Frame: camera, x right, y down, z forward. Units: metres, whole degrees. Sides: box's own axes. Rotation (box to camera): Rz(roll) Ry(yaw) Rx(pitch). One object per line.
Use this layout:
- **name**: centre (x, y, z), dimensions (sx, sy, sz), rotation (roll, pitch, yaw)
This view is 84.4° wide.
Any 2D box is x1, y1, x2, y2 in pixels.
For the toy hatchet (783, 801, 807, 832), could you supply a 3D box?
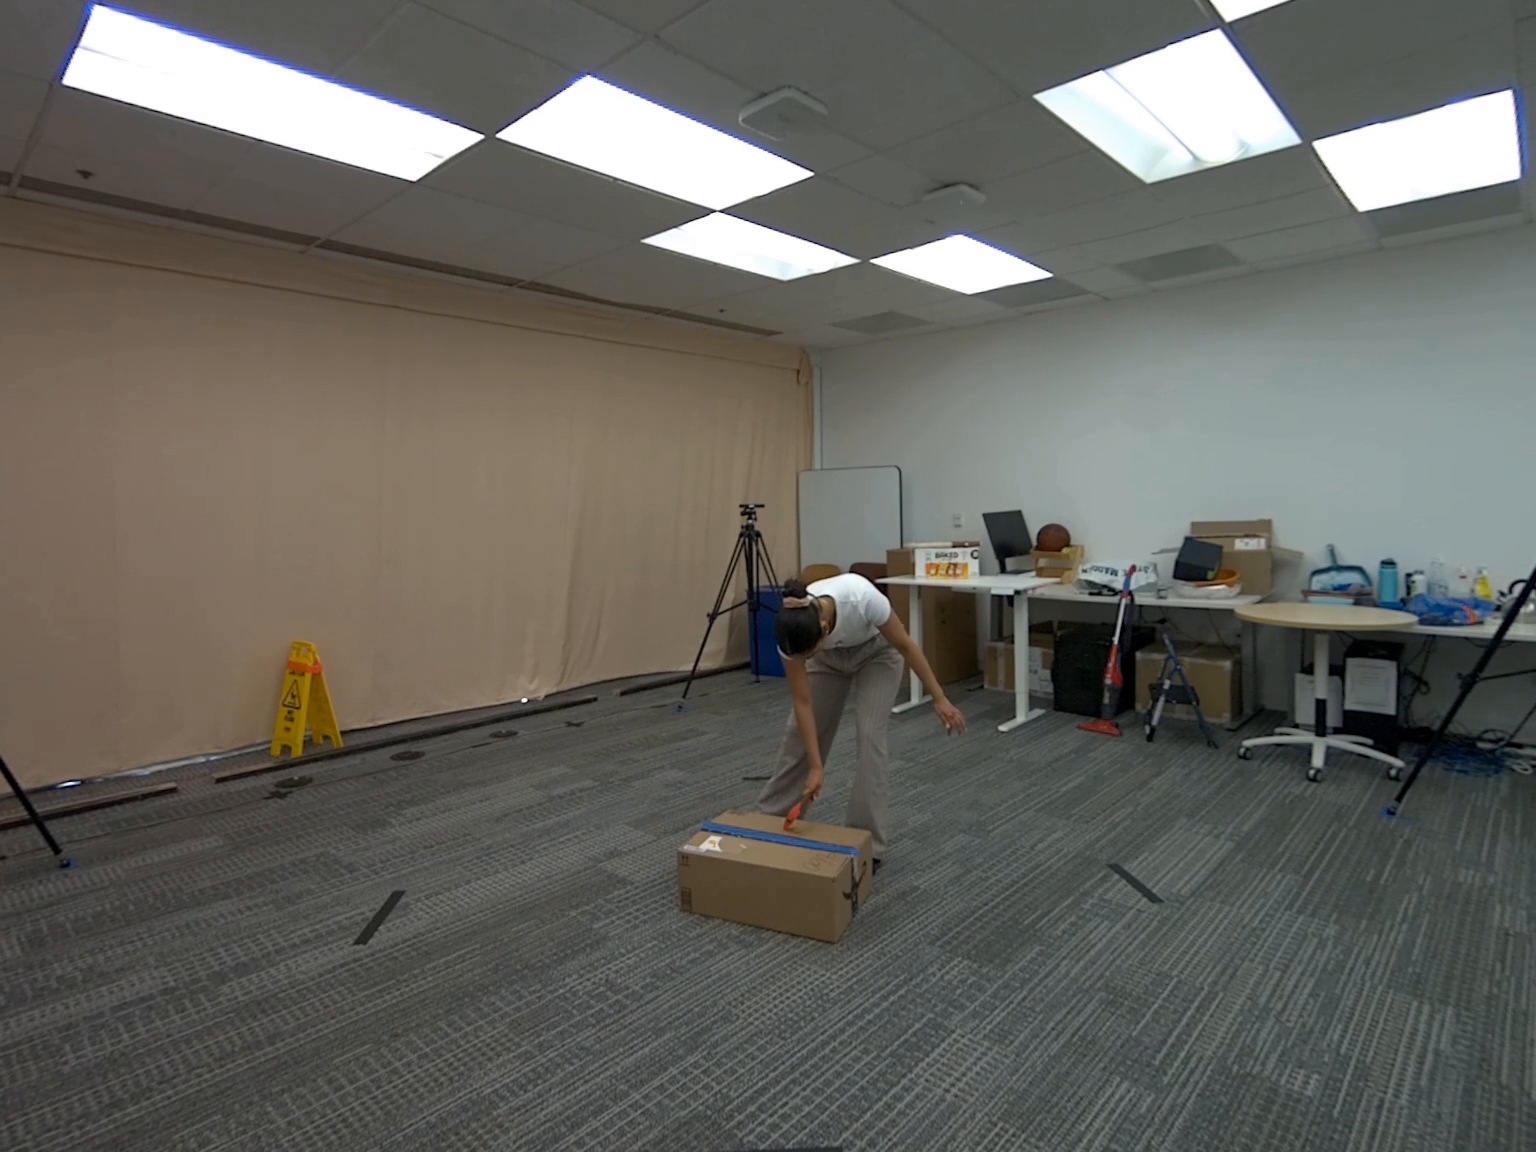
- **toy hatchet**: centre (0.127, 0.857, 3.098), dimensions (0.030, 0.131, 0.263), rotation (34, 12, 19)
